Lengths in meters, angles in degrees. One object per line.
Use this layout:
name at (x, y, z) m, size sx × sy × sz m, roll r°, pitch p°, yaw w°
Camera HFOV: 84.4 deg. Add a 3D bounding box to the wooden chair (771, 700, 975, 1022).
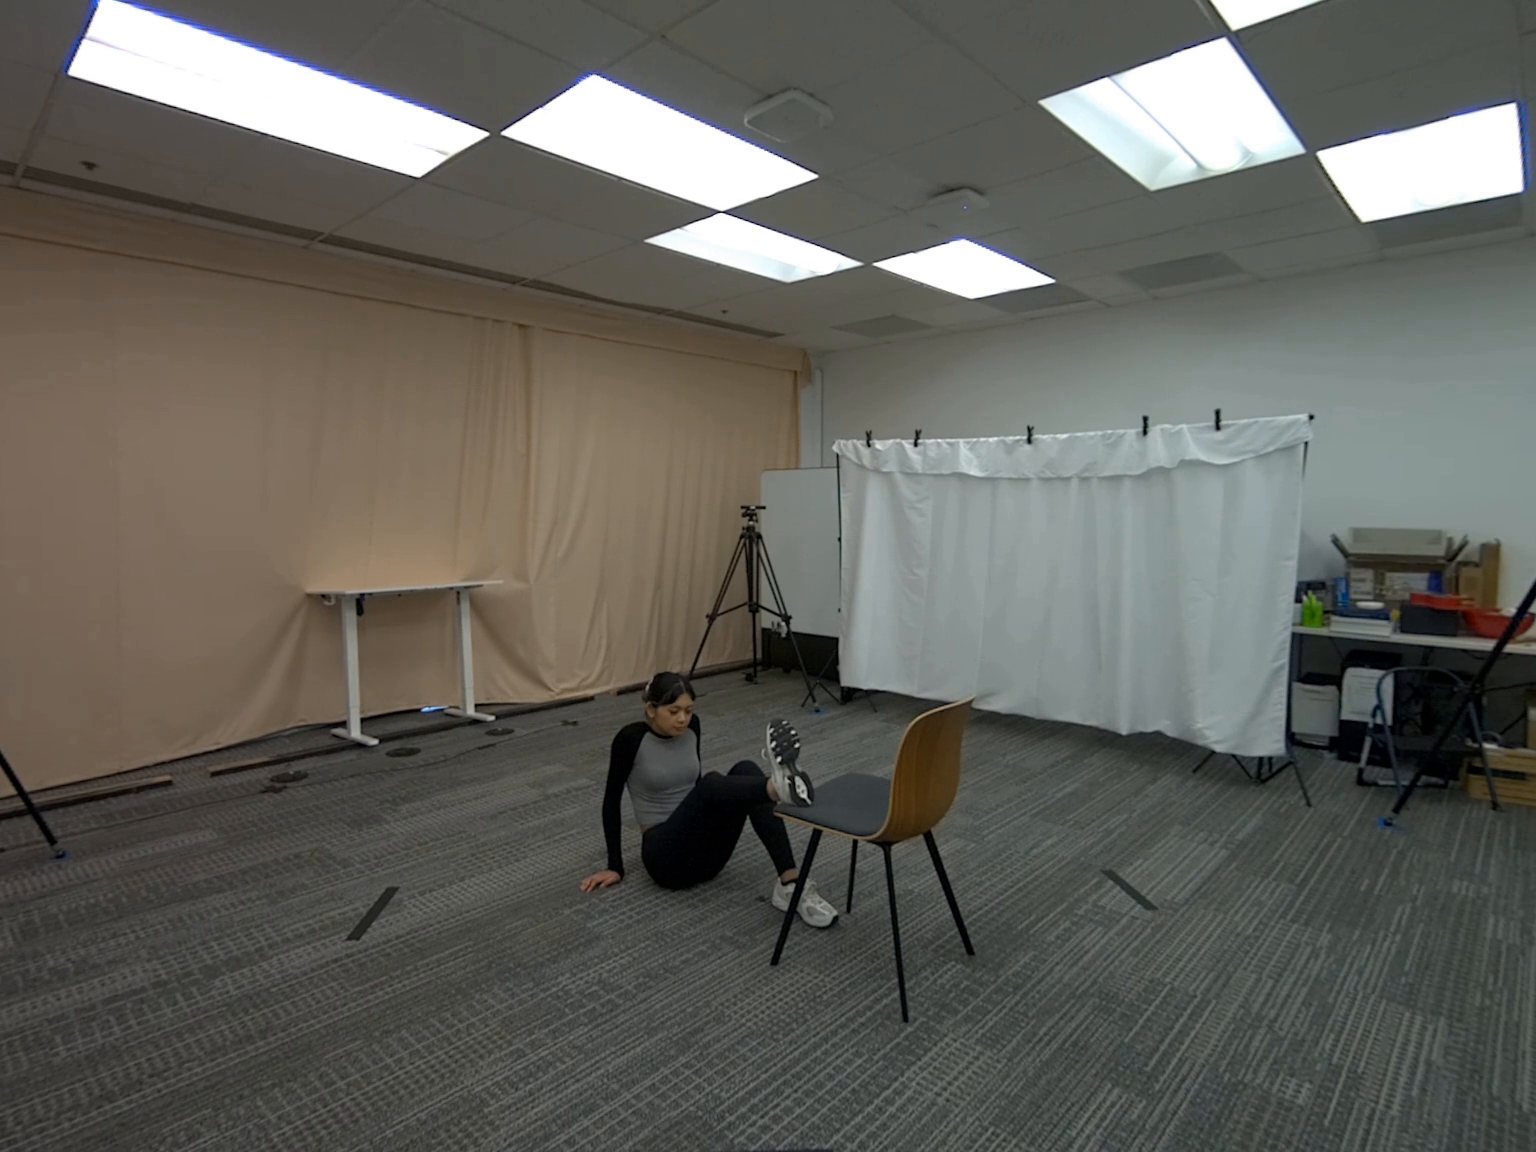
wooden chair at (0.321, 0.750, 2.555) m, size 0.541 × 0.874 × 0.464 m, roll 8°, pitch 8°, yaw 38°
